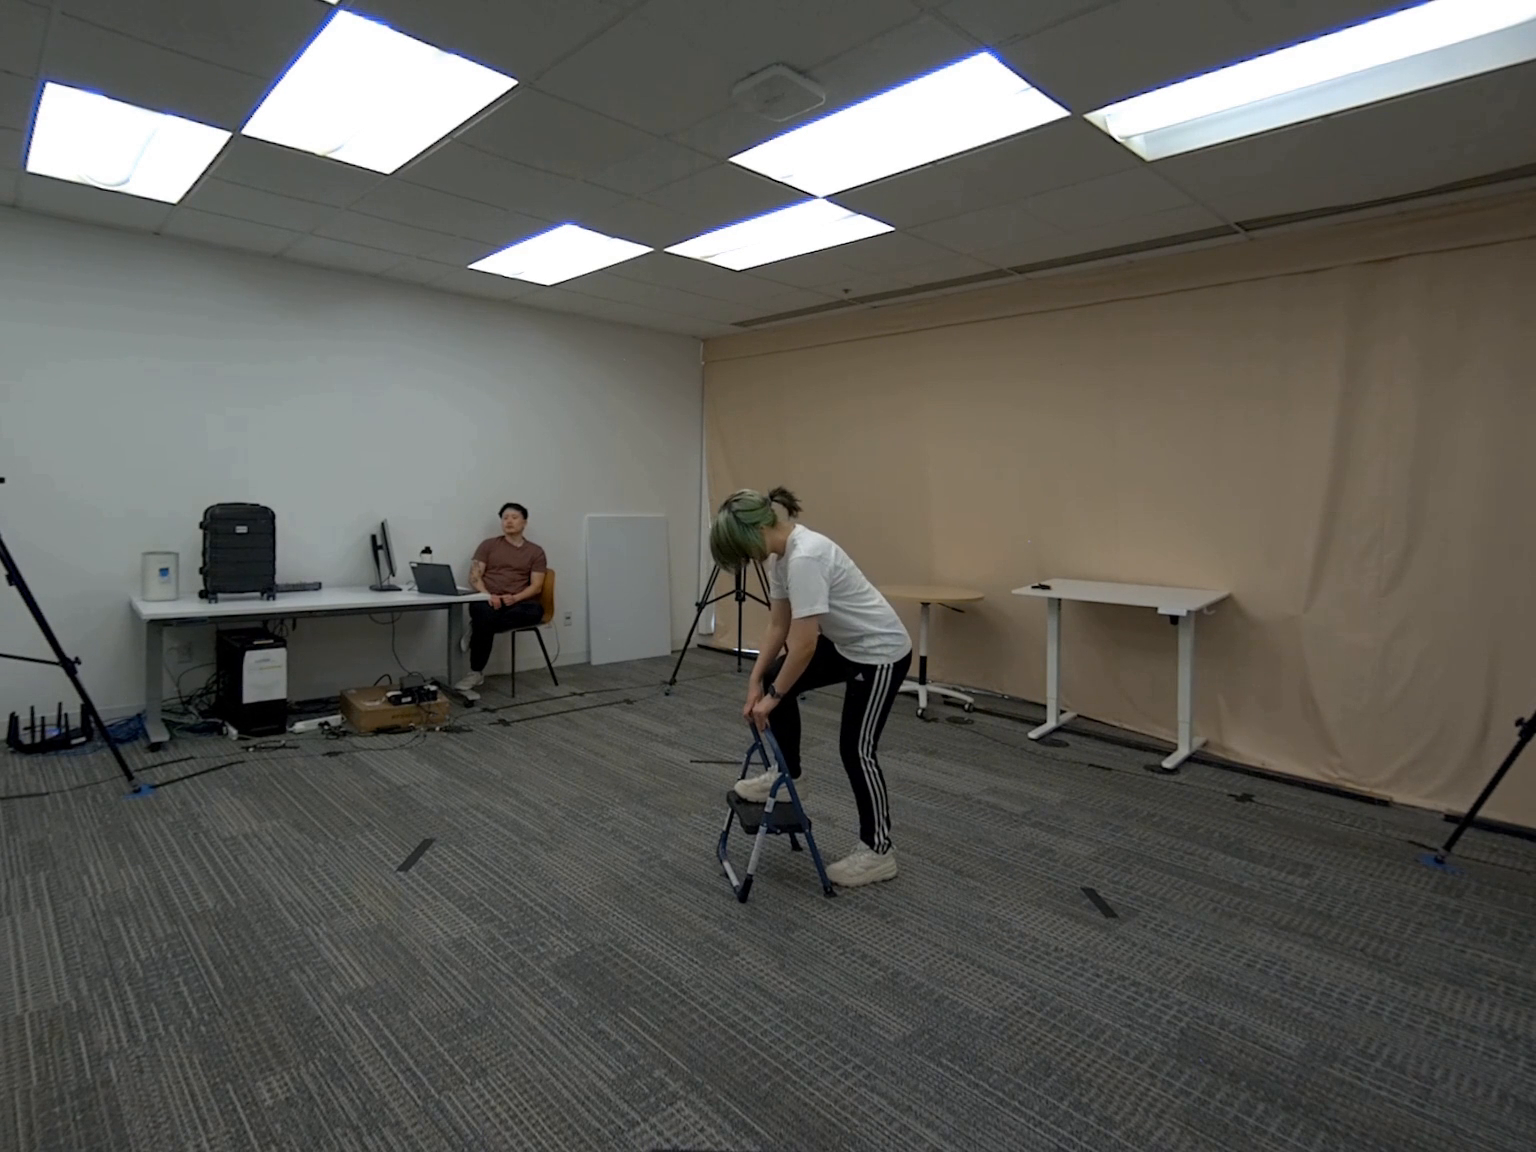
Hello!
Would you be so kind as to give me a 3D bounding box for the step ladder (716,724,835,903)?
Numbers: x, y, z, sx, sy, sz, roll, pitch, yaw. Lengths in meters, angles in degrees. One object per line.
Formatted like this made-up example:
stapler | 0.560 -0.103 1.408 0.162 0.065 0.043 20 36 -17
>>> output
step ladder | 0.018 0.808 3.104 0.345 0.605 0.436 1 3 -15
